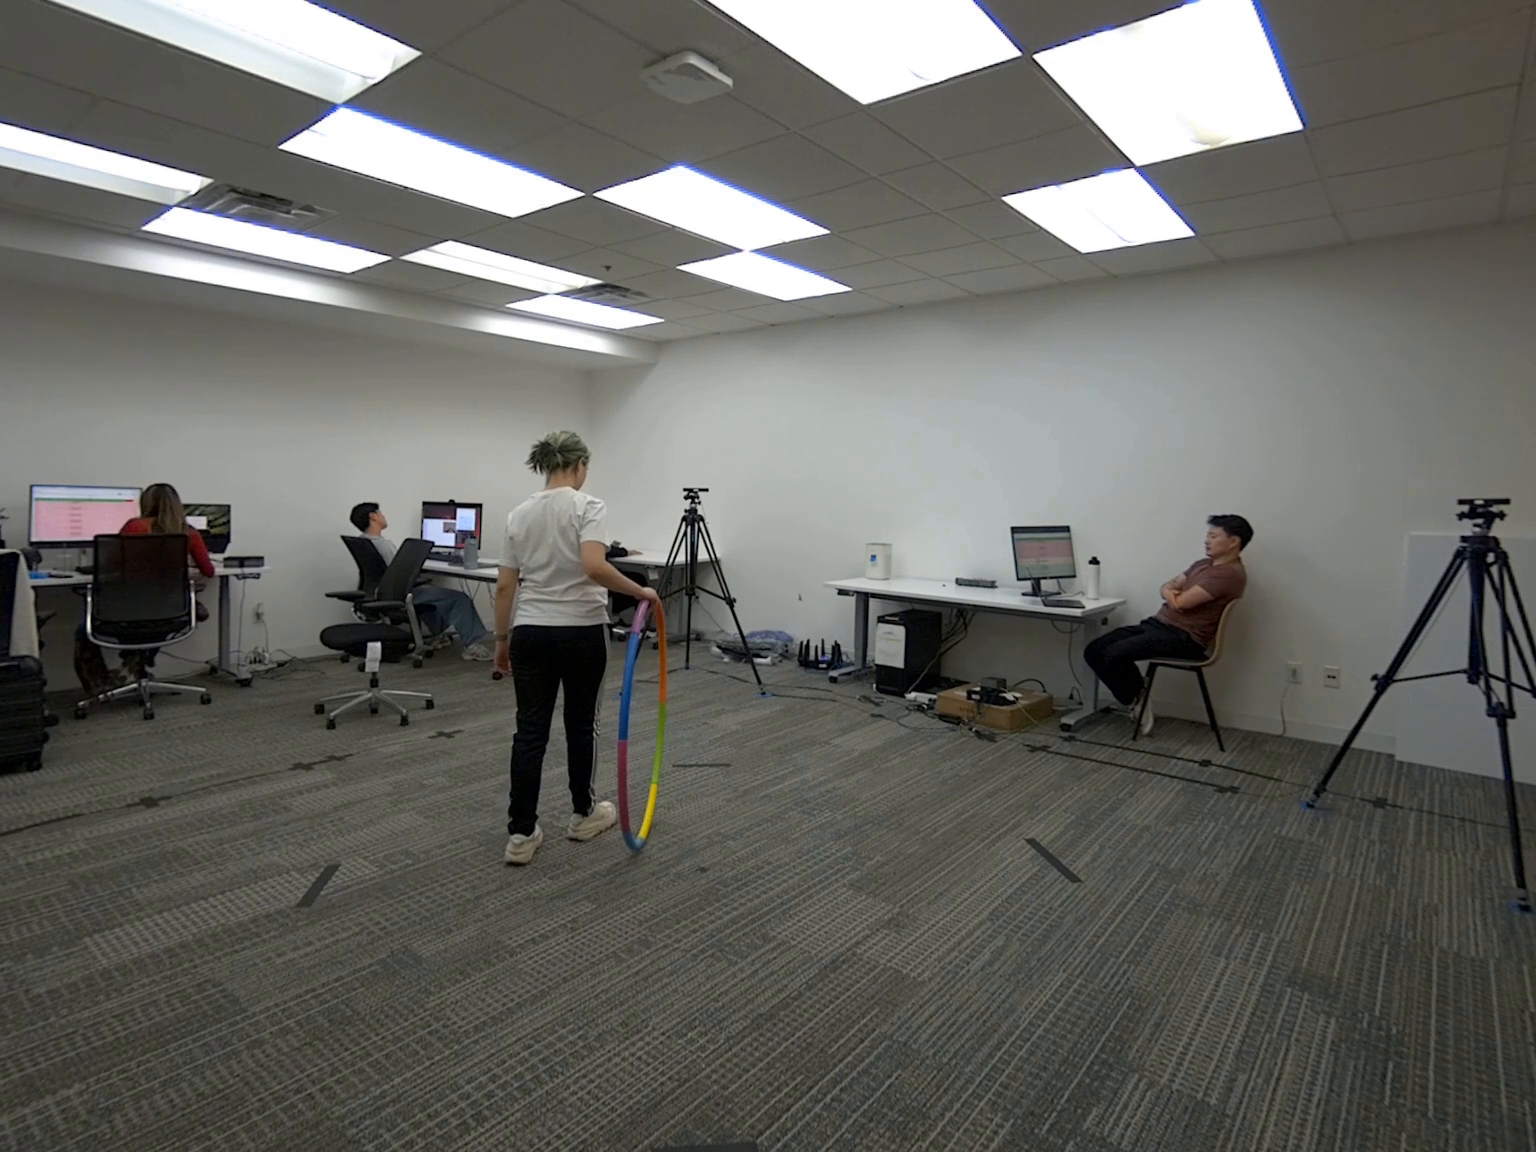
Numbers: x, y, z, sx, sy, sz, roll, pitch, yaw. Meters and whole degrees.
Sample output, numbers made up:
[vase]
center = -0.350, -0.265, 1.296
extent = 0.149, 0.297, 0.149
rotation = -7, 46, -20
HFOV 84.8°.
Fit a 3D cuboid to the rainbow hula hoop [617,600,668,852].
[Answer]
[rainbow hula hoop]
center = -0.491, 0.557, 3.343
extent = 0.035, 0.976, 0.979
rotation = 2, 4, 0
